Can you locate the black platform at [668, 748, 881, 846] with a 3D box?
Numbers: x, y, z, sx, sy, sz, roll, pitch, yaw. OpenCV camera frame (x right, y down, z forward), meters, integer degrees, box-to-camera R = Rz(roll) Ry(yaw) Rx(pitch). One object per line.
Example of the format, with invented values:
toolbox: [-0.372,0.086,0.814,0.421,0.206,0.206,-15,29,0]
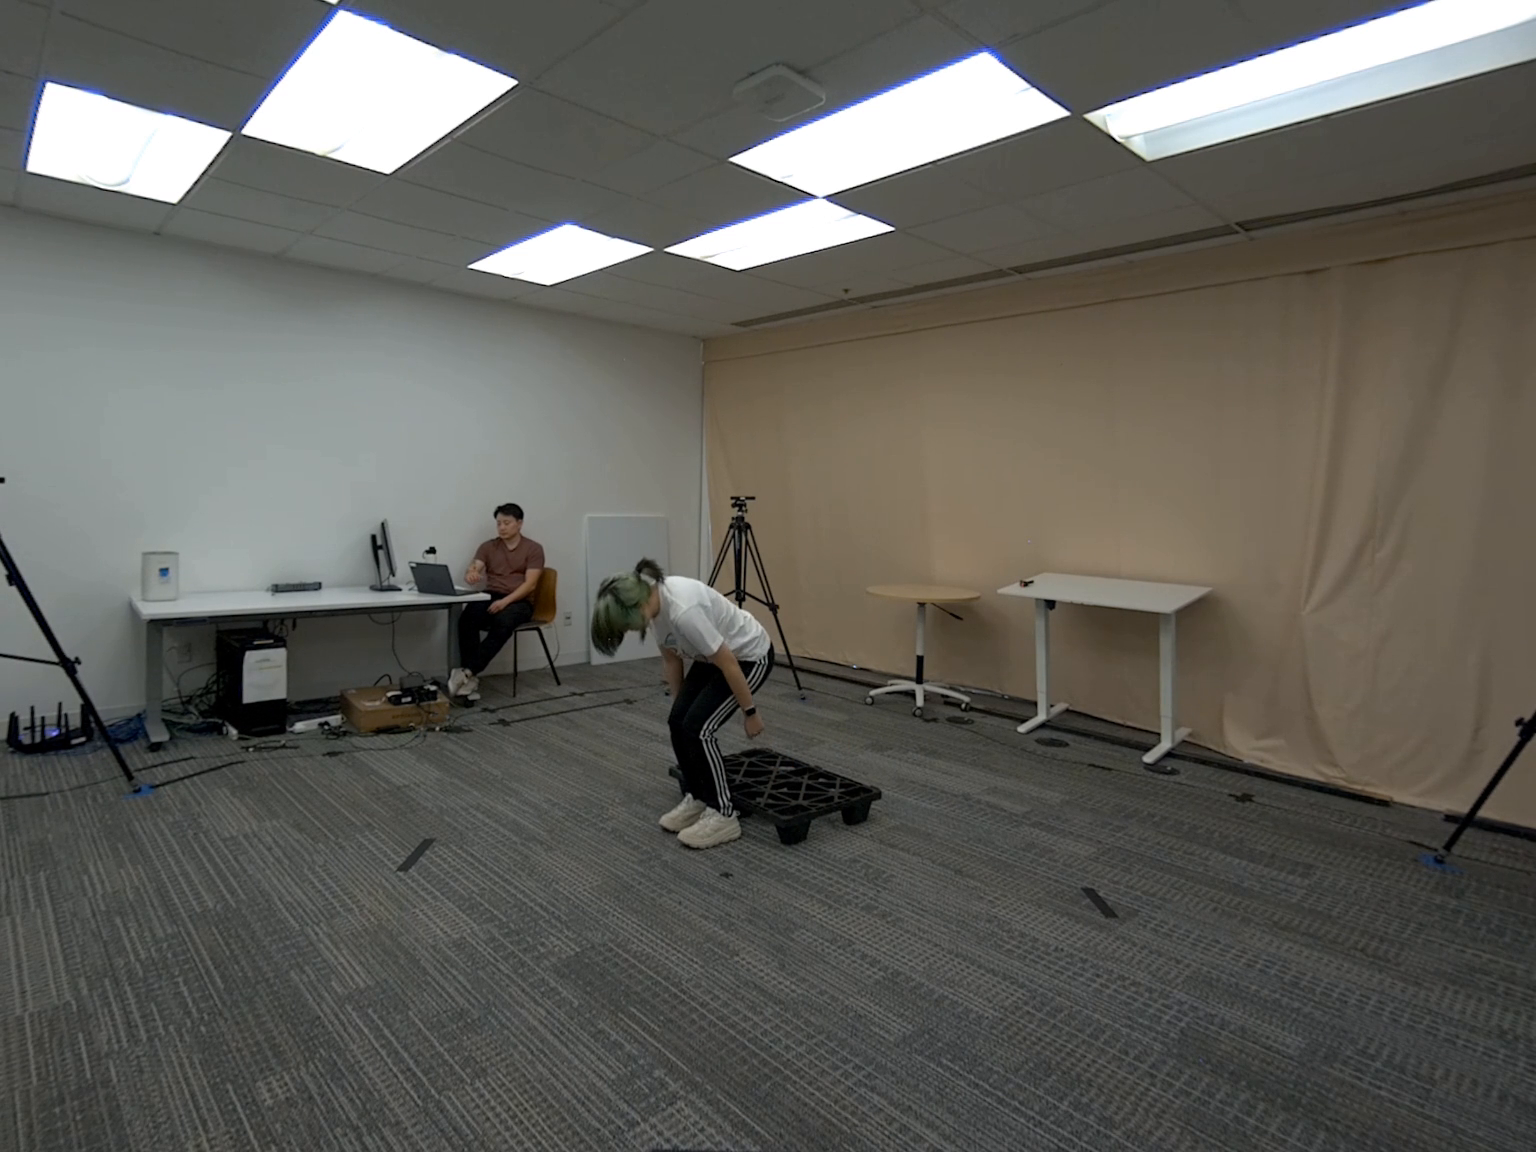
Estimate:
black platform: [0.006,0.981,3.802,0.591,0.143,0.826,-3,7,-40]
